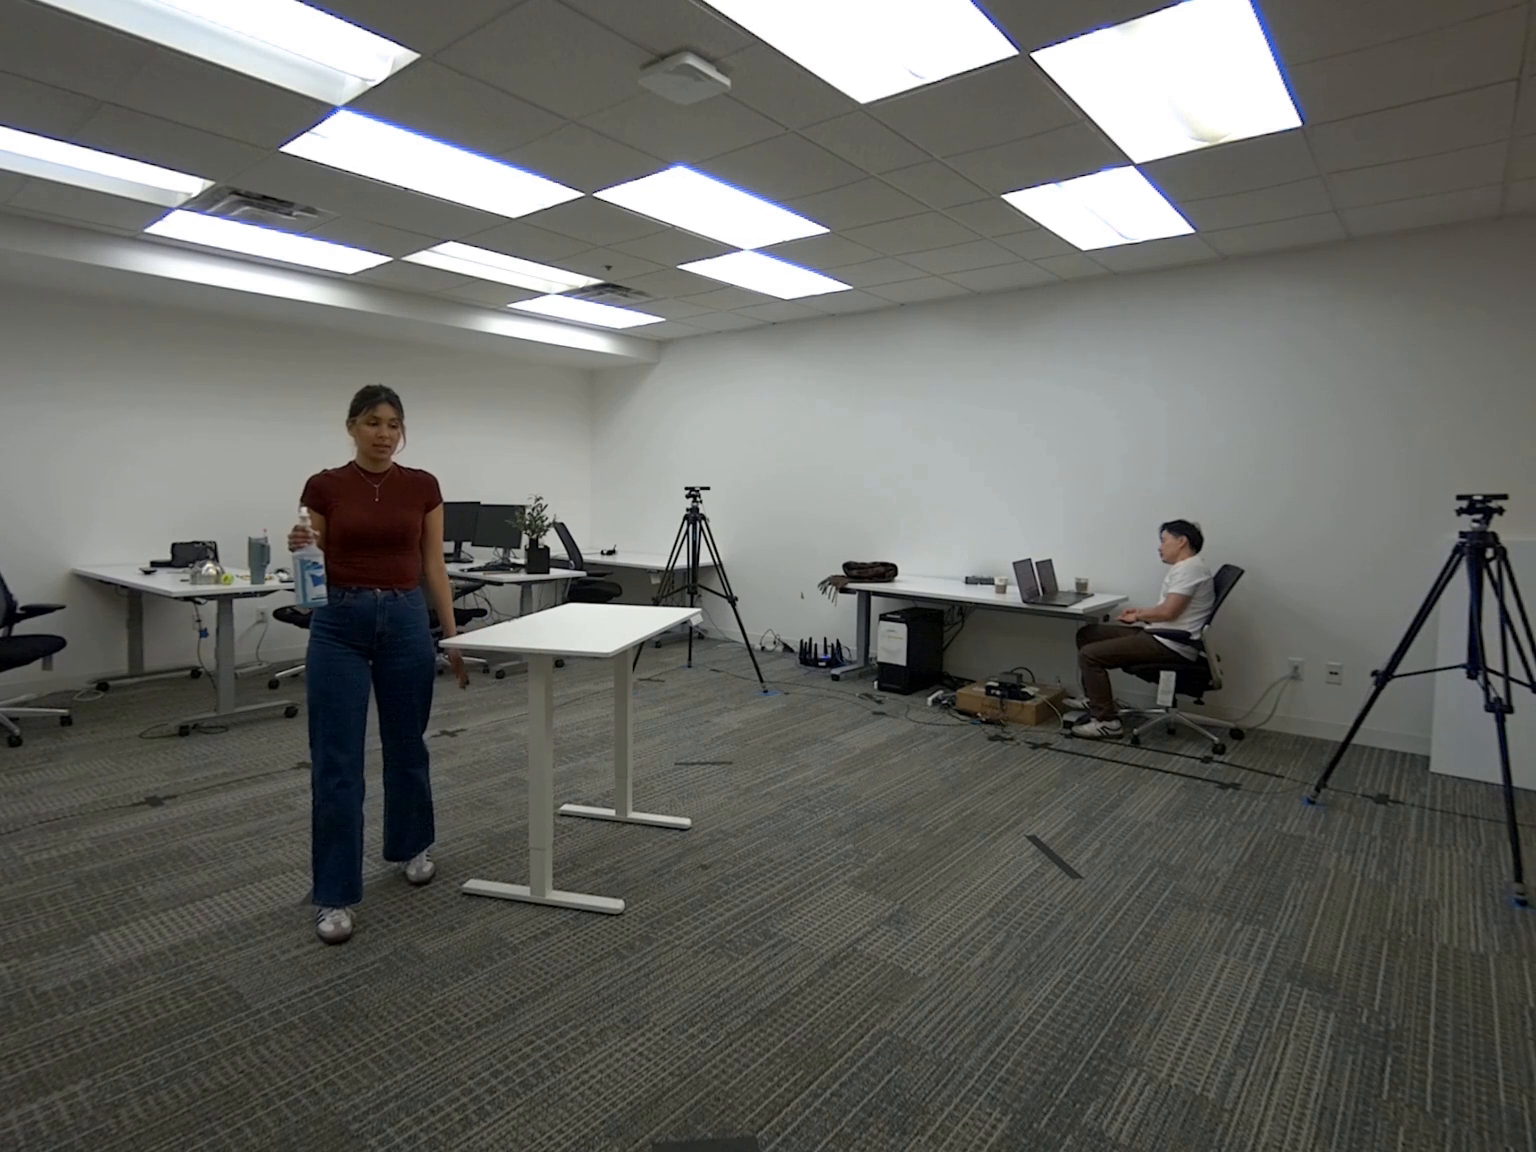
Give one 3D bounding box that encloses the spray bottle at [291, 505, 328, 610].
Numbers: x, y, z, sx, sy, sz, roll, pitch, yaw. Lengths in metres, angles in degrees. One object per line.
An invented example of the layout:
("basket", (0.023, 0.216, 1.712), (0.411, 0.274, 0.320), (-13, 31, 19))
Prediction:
("spray bottle", (-1.383, -0.058, 2.507), (0.087, 0.298, 0.090), (-4, -2, -4))
